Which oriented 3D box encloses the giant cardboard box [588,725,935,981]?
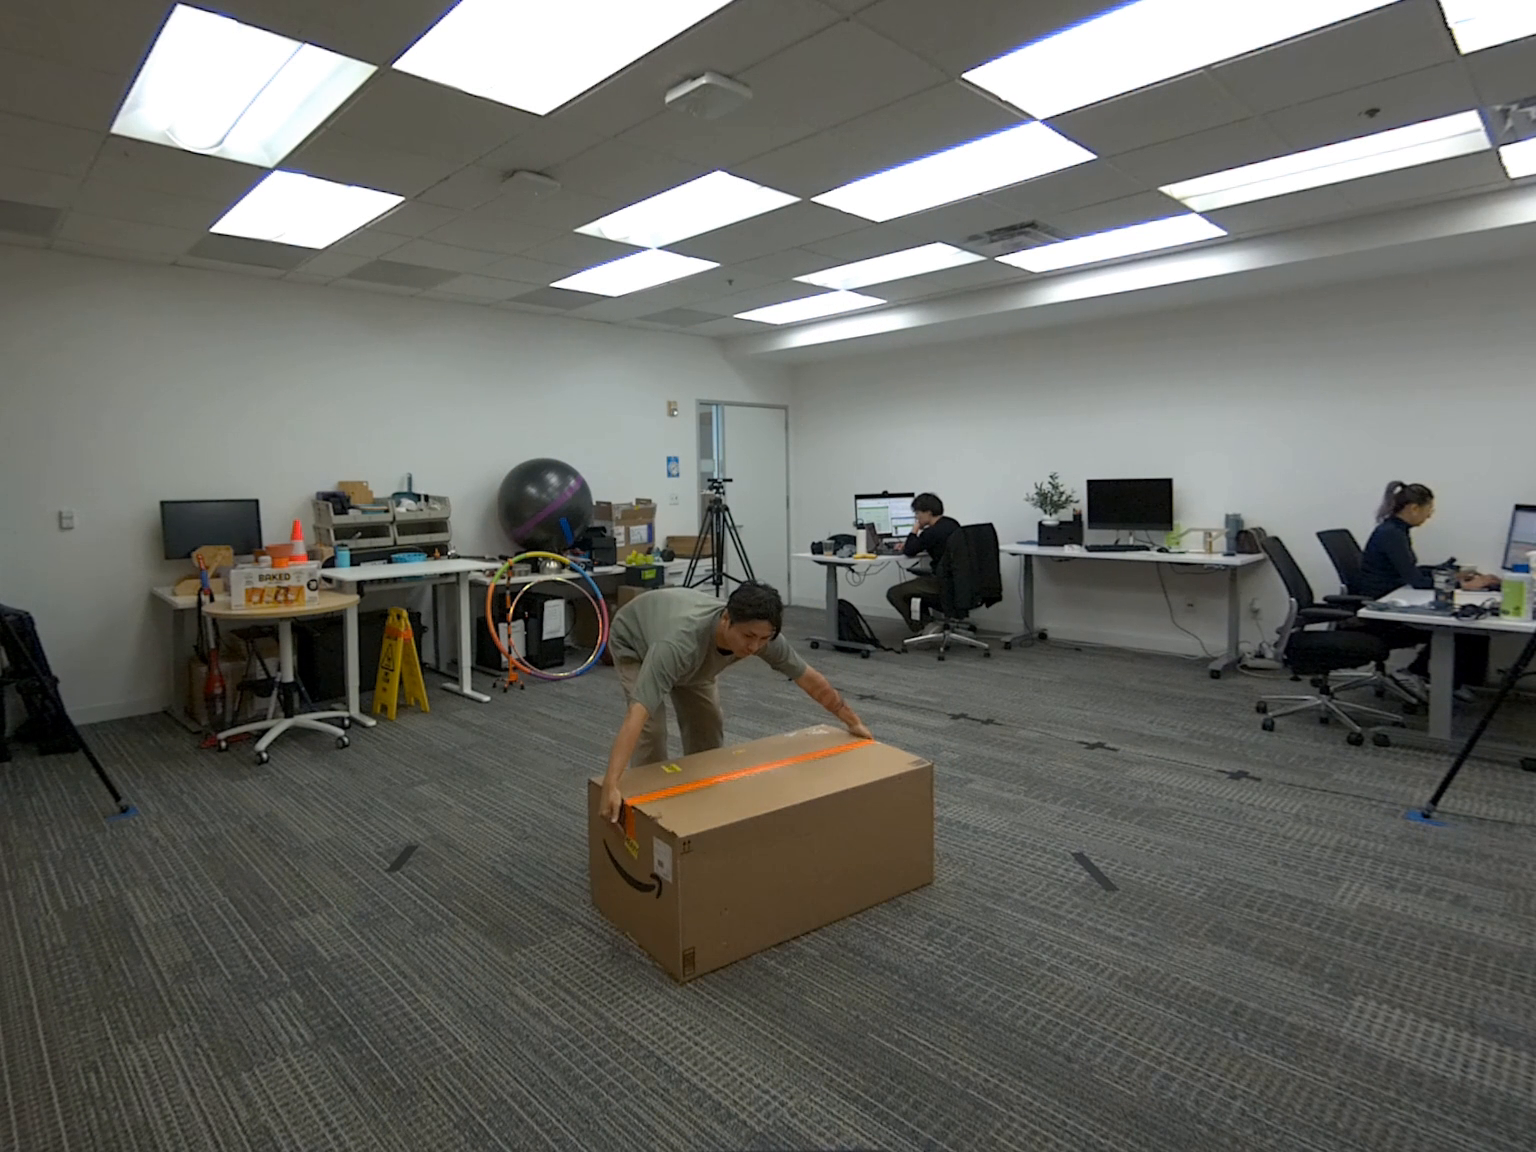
[{"bbox_3d":[-0.008,0.852,2.865,1.000,0.424,0.595,-5,7,-35],"label":"giant cardboard box"}]
